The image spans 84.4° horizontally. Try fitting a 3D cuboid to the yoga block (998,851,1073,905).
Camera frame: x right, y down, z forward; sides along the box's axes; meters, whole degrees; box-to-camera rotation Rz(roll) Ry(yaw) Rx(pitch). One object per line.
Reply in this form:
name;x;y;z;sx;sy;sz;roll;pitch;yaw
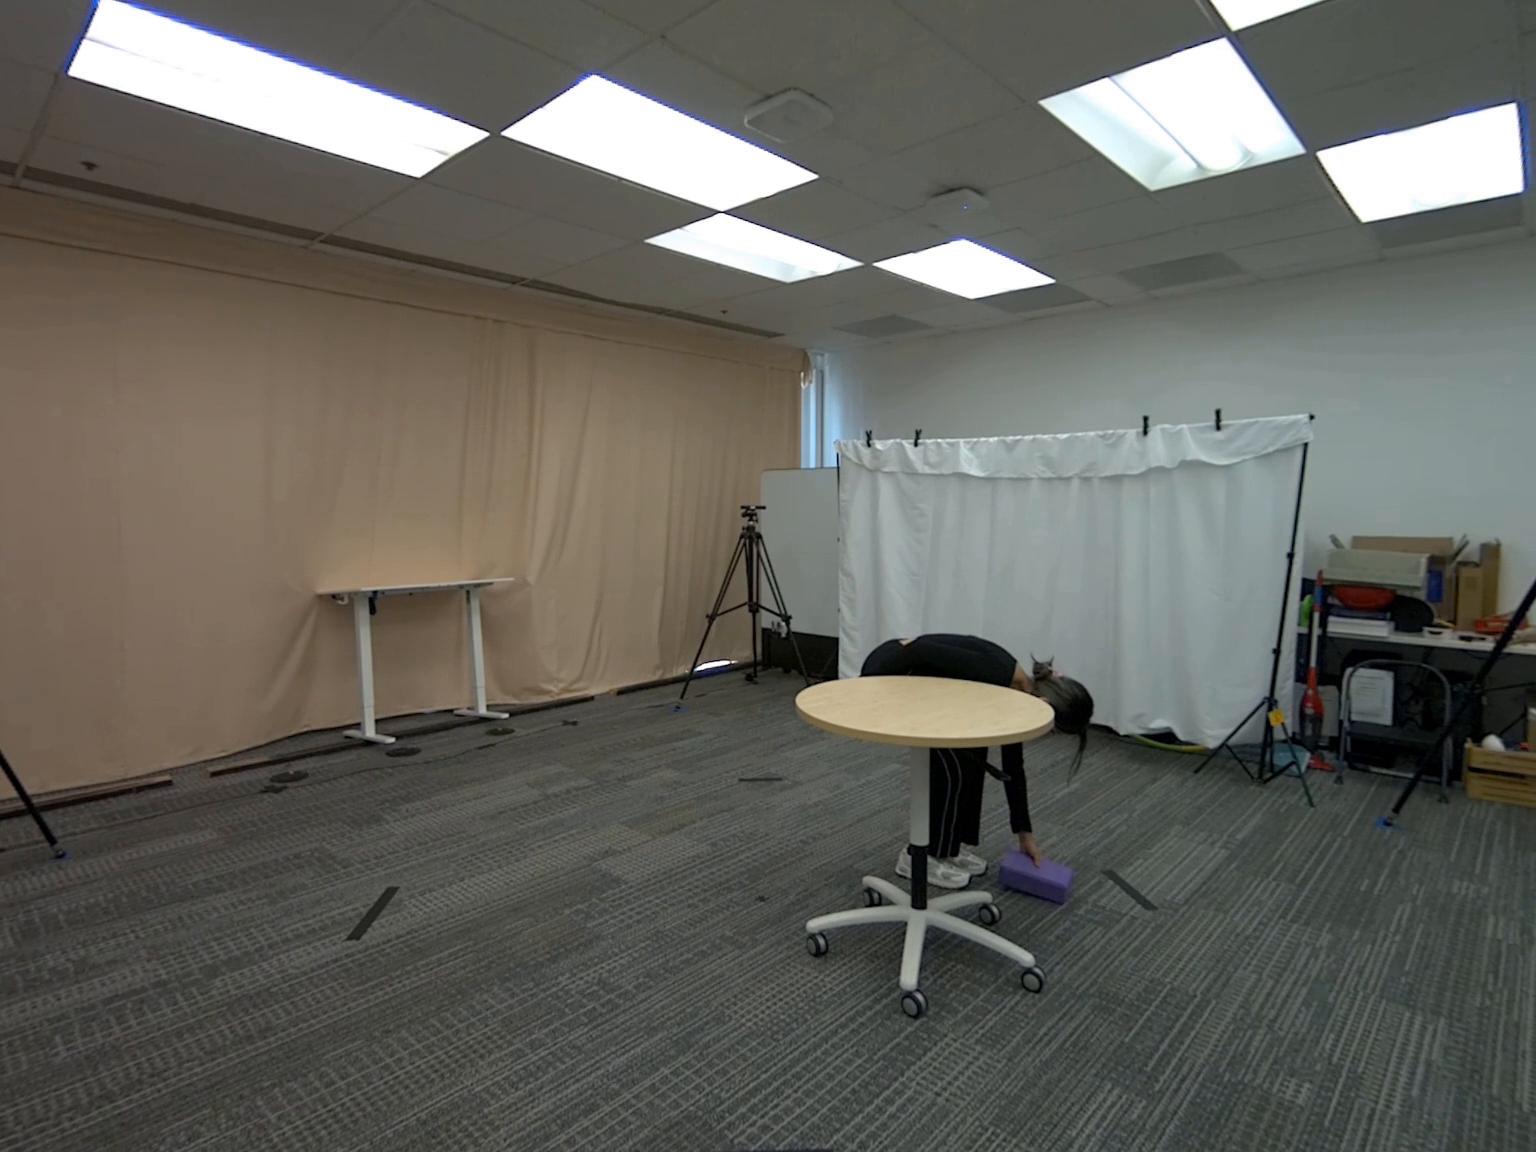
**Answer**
yoga block;0.979;1.087;3.032;0.236;0.076;0.145;8;11;30
